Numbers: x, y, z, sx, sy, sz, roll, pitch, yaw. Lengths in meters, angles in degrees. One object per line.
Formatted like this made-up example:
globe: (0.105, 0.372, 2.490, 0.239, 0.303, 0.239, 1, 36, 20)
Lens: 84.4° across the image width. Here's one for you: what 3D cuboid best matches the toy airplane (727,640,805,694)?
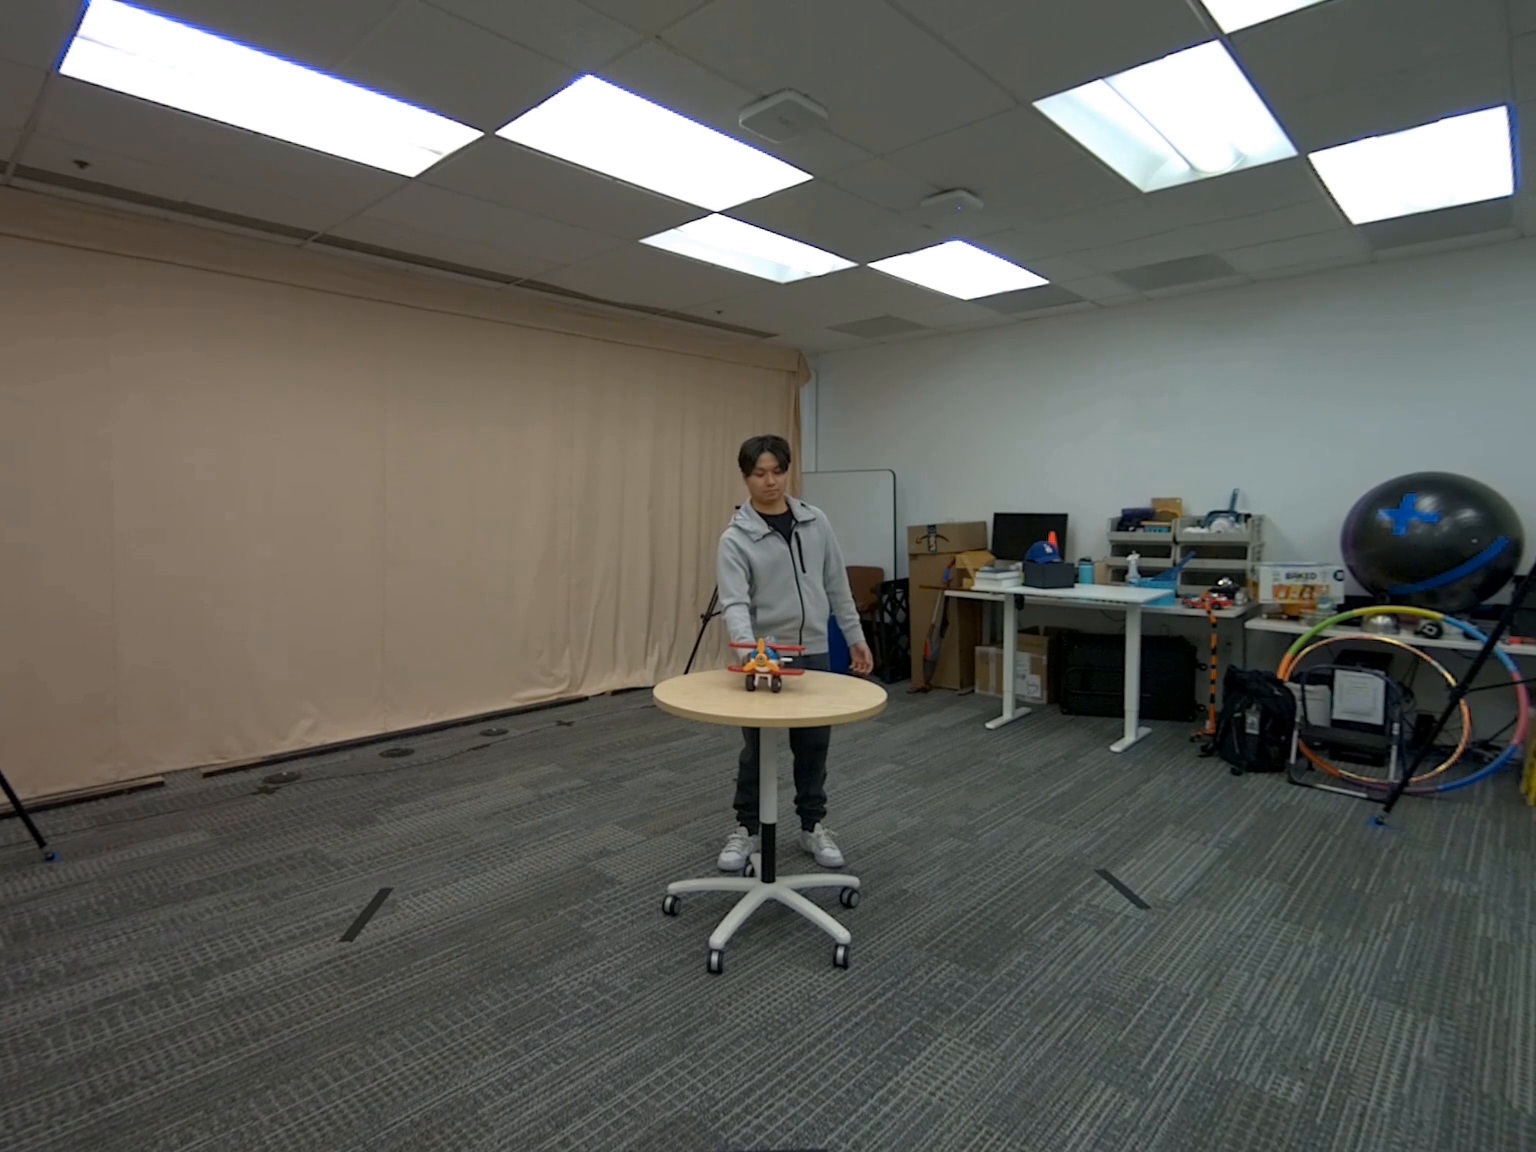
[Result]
toy airplane: (-0.016, 0.285, 2.834, 0.247, 0.155, 0.265, -3, 10, -17)
